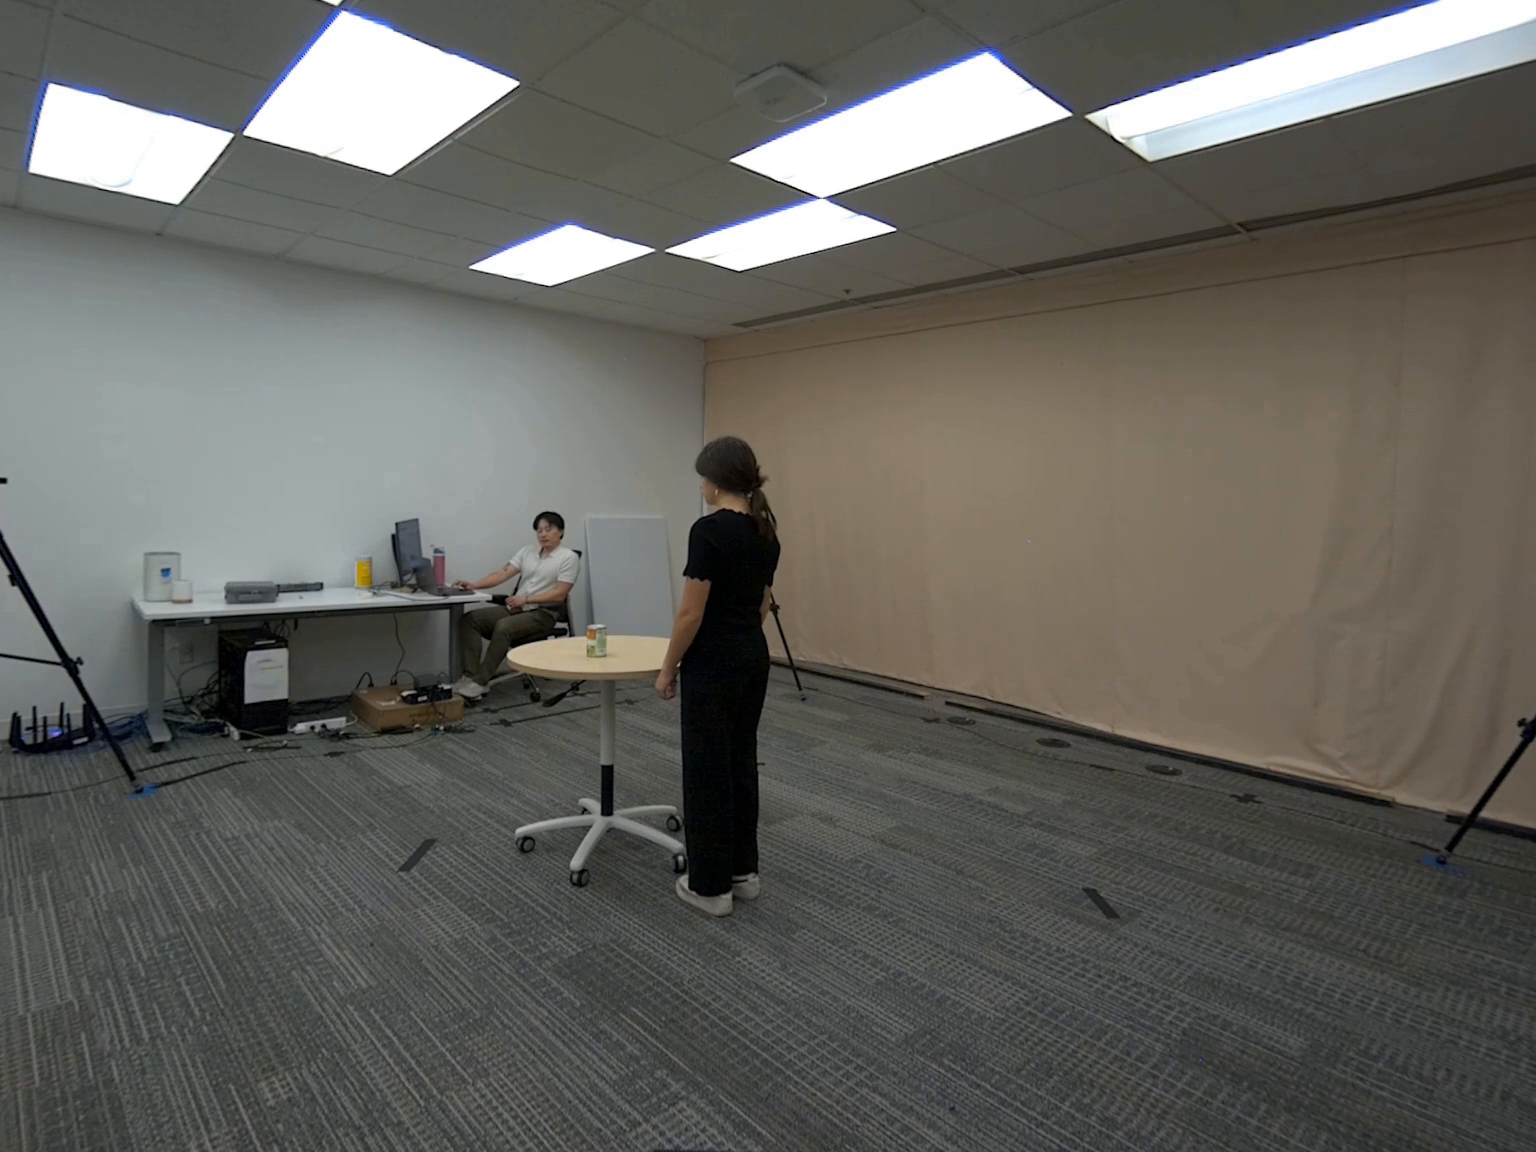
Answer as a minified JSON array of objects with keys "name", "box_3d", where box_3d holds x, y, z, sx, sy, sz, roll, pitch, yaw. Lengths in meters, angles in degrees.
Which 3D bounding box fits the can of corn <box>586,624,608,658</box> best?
[{"name":"can of corn","box_3d":[-0.666,0.248,3.188,0.074,0.111,0.074,1,0,-1]}]
